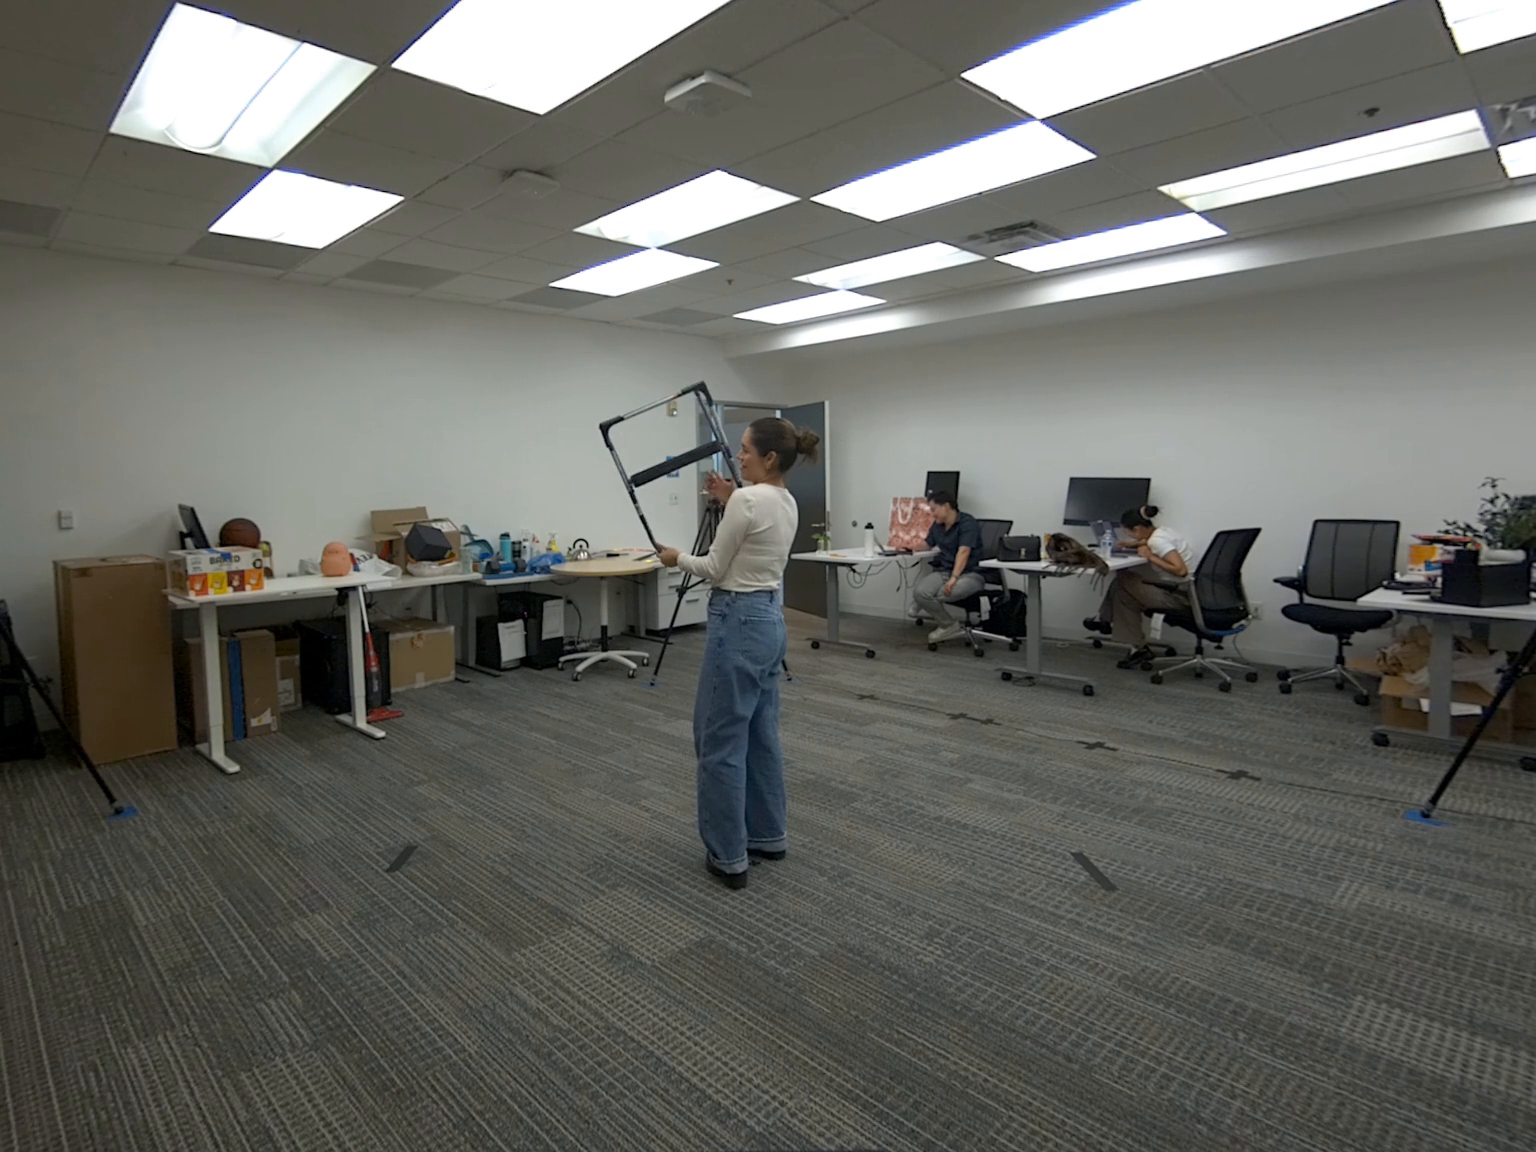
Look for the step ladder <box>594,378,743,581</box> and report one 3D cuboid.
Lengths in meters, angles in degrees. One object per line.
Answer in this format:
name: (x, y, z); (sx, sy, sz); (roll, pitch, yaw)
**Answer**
step ladder: (-0.330, -0.371, 3.253); (0.430, 0.601, 0.353); (-23, 7, -3)
